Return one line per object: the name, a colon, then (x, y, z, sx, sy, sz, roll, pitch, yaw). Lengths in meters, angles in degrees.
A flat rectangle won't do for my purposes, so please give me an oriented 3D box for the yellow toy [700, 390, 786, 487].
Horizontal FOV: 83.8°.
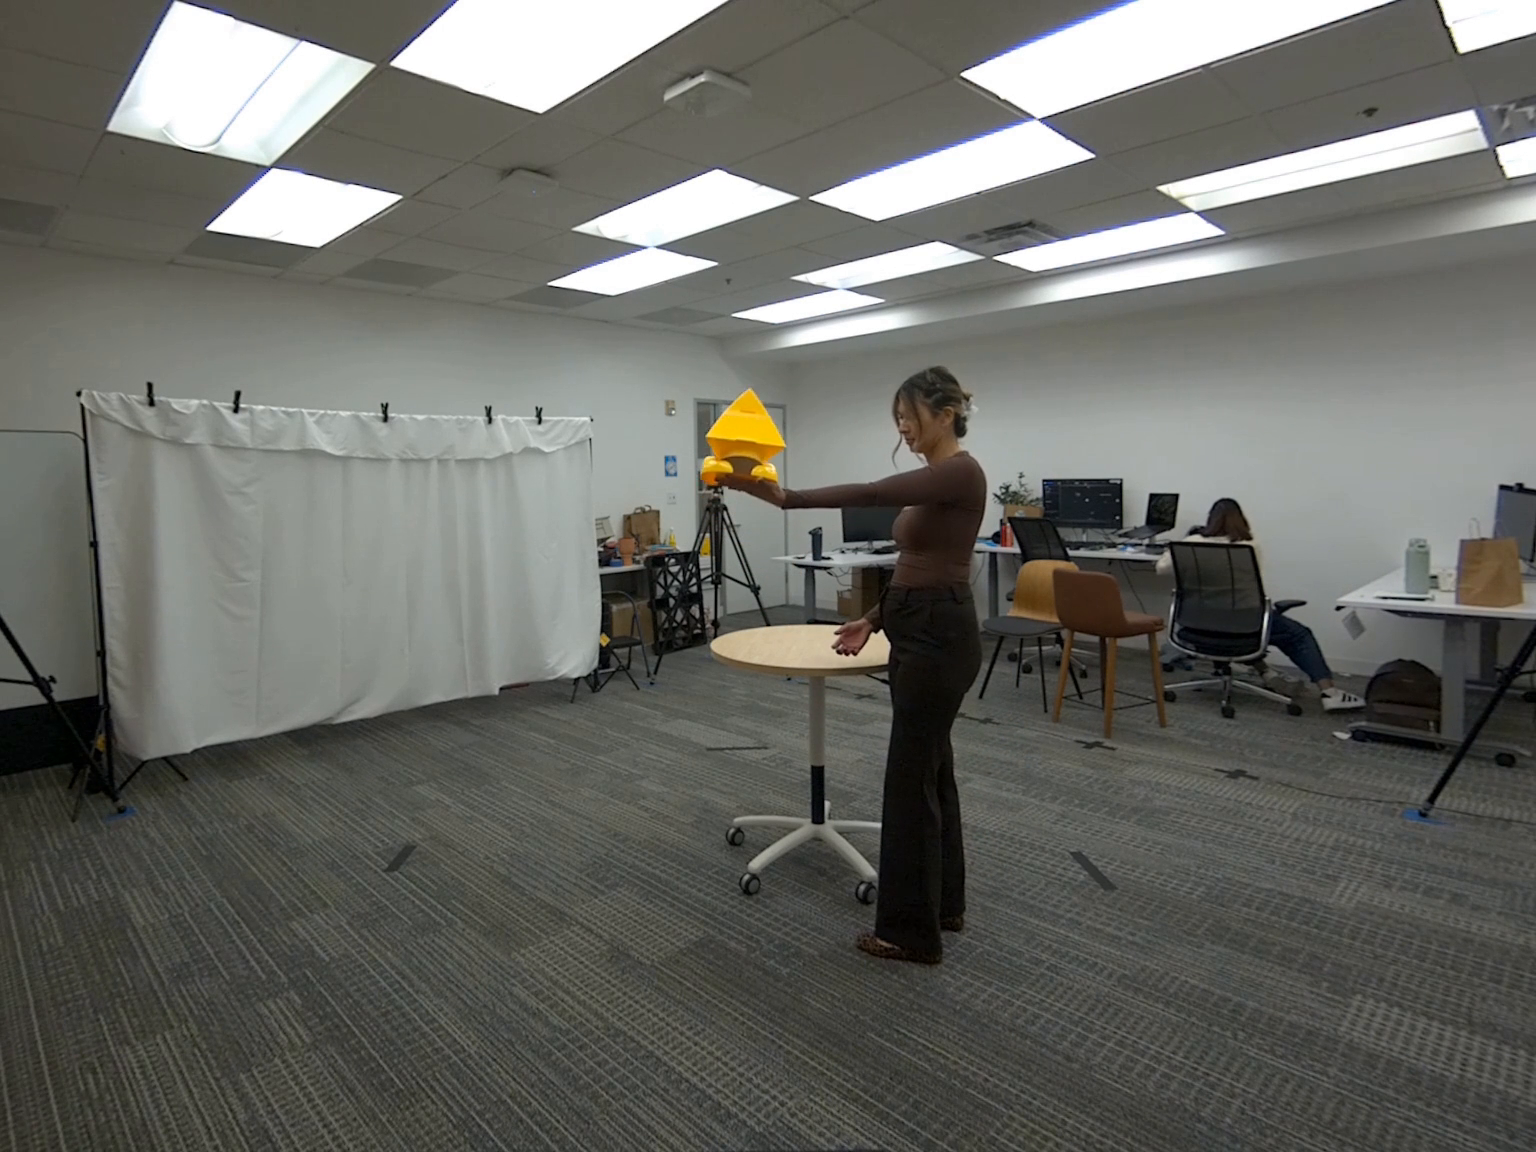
yellow toy: (-0.058, -0.360, 2.237, 0.203, 0.232, 0.193, 6, -9, -7)
